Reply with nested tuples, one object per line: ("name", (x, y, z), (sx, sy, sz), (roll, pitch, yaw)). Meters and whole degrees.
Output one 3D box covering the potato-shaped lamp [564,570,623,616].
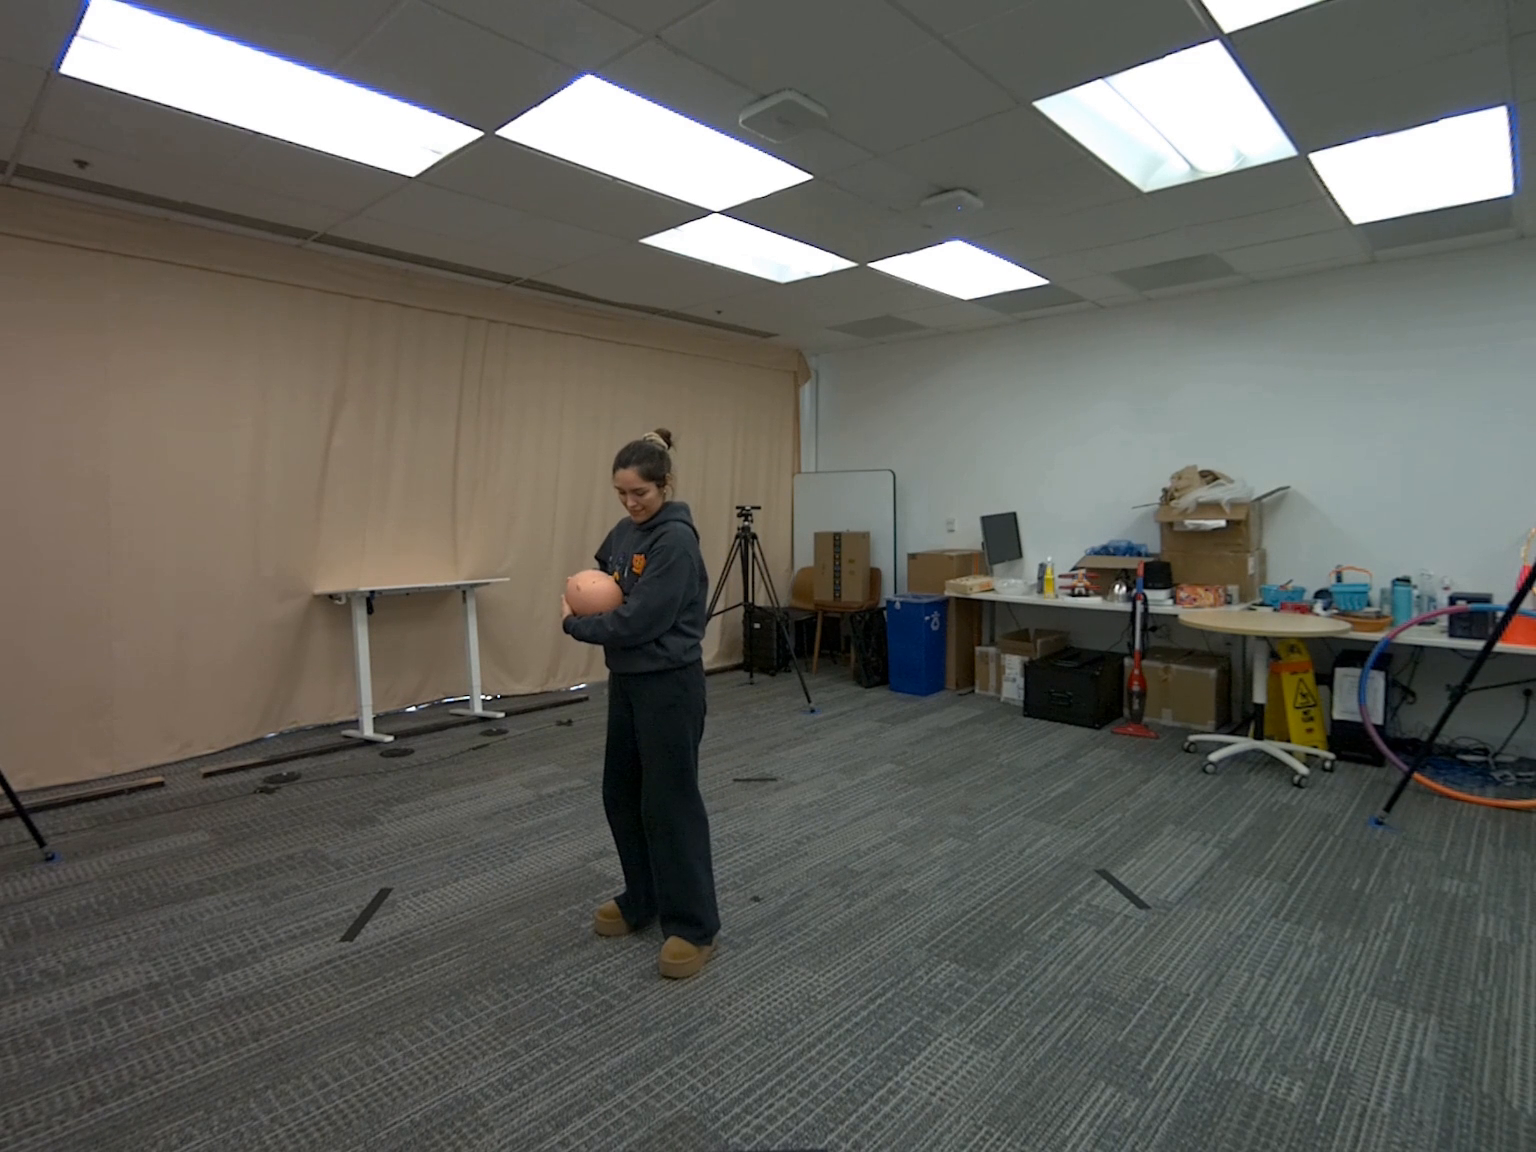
("potato-shaped lamp", (-0.532, 0.075, 2.677), (0.160, 0.170, 0.204), (-13, 9, -36))
